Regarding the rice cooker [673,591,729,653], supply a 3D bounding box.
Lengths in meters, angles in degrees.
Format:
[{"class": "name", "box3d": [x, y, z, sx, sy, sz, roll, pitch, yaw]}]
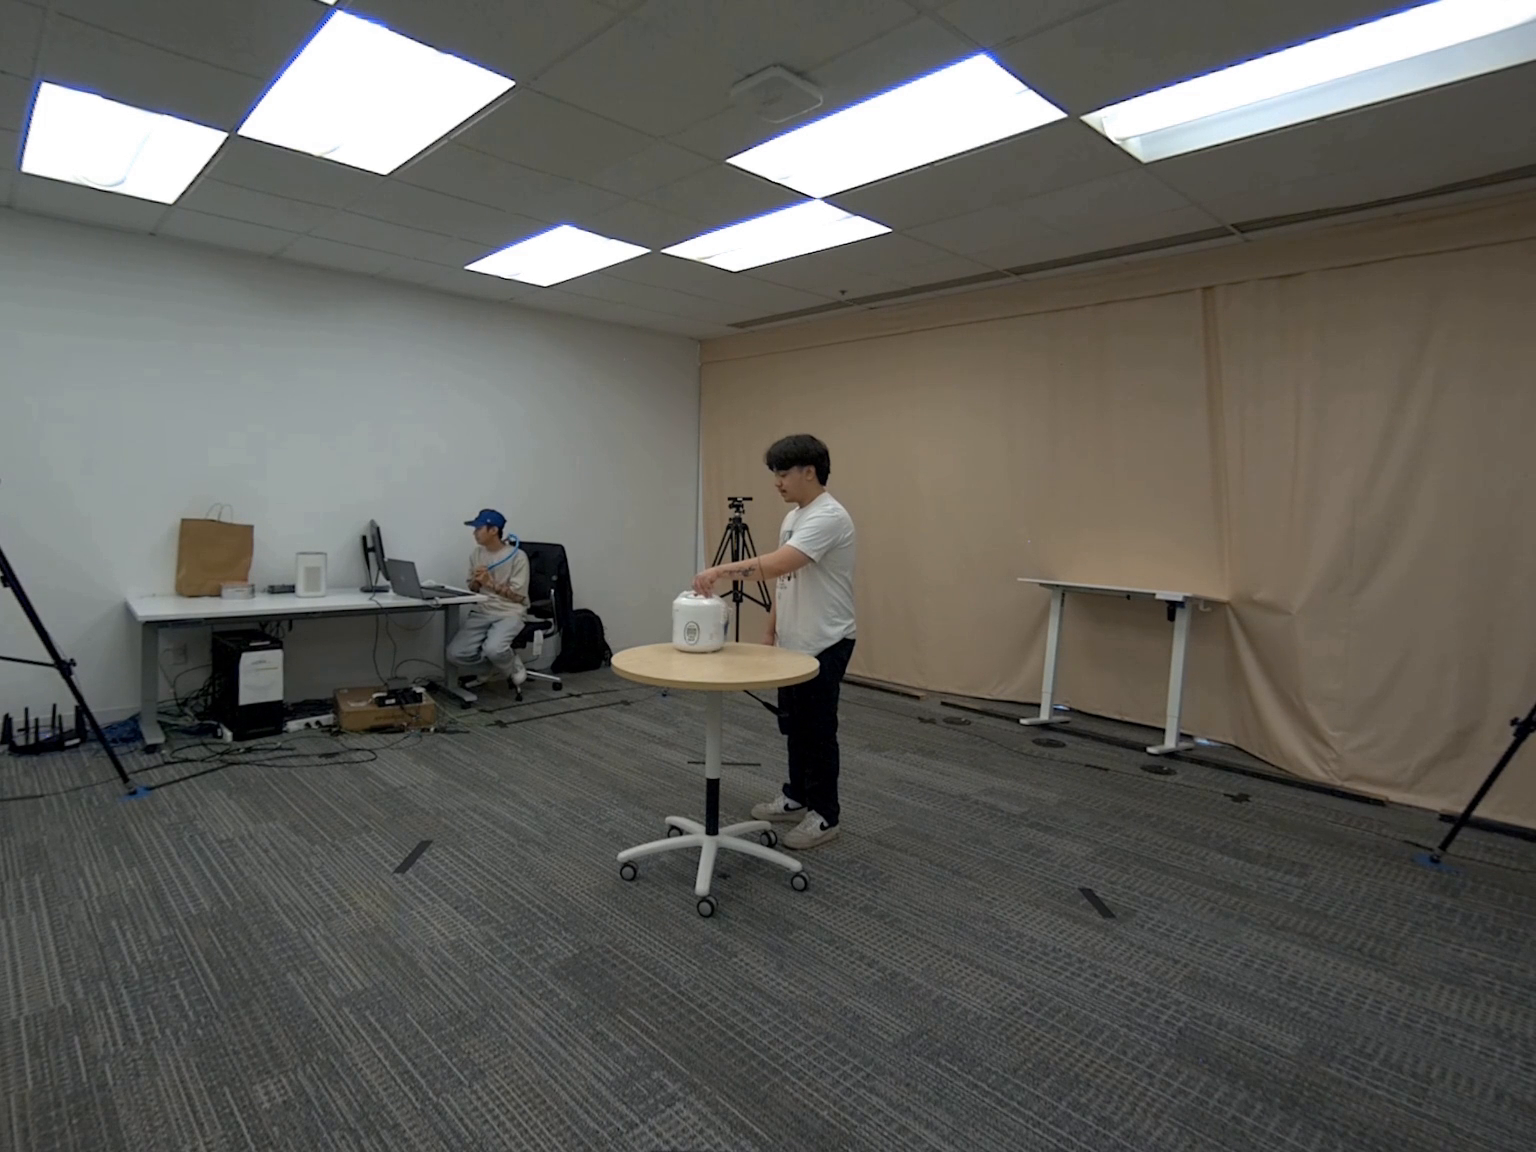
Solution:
[{"class": "rice cooker", "box3d": [-0.273, 0.174, 3.300, 0.223, 0.232, 0.216, 2, 4, 11]}]
